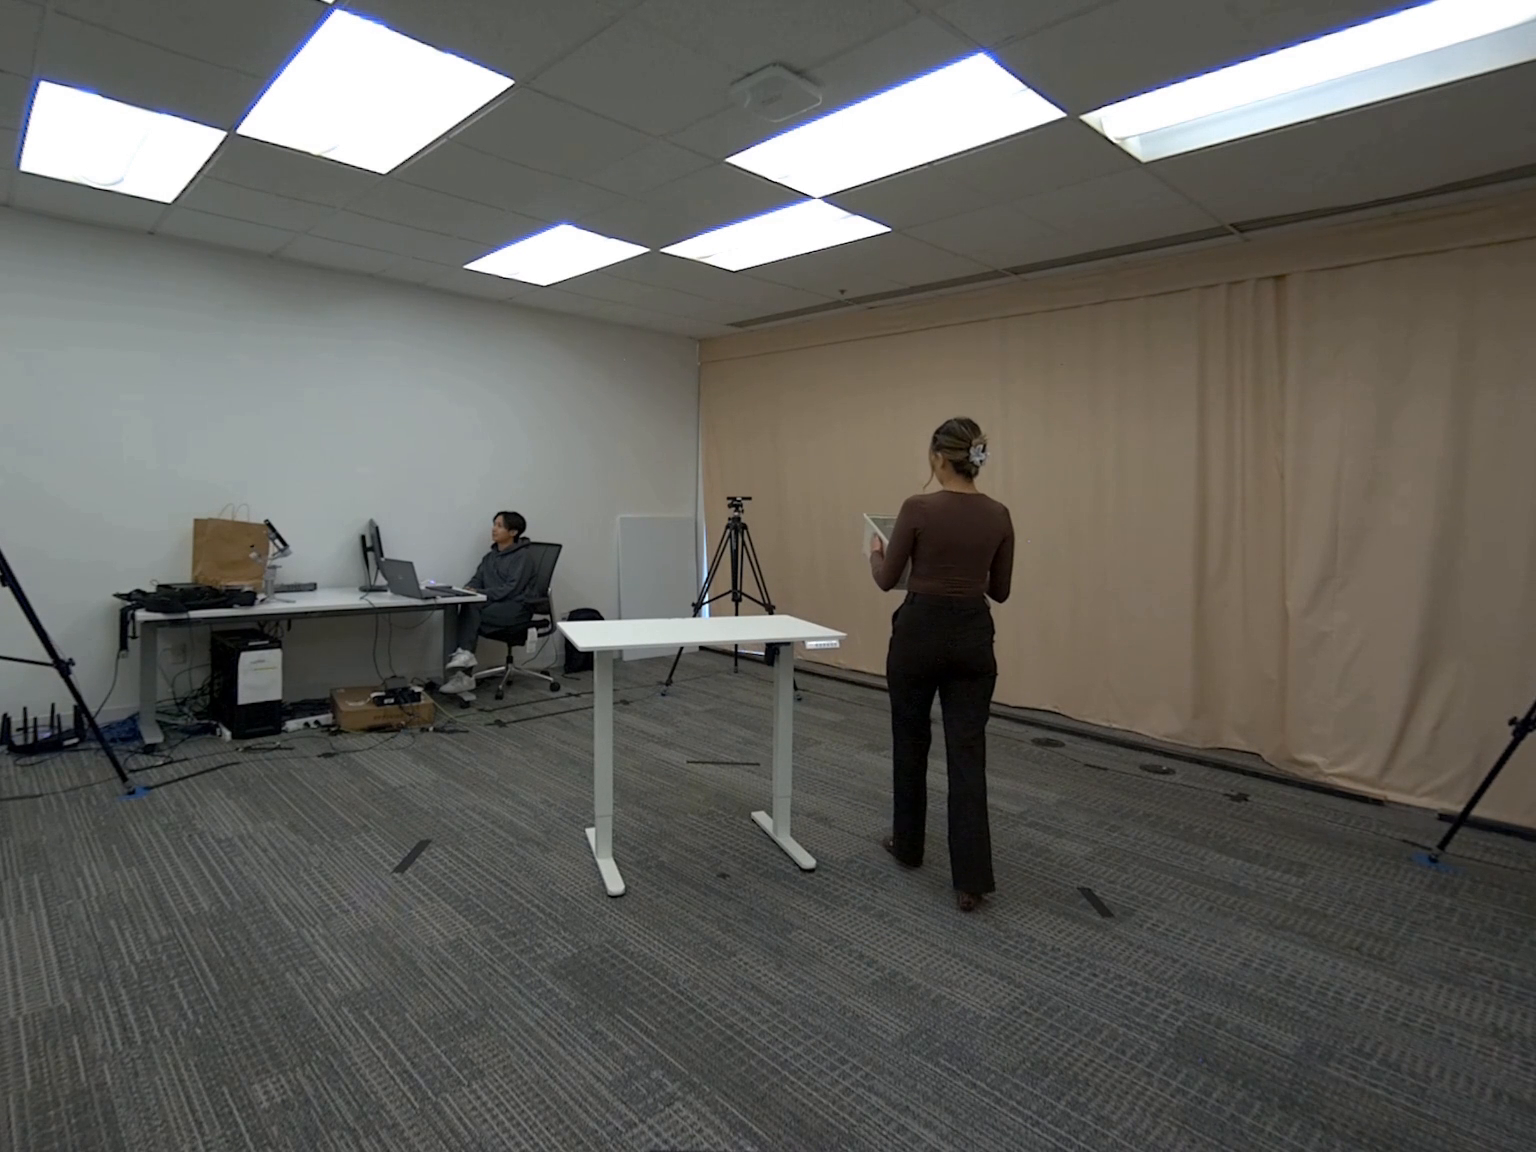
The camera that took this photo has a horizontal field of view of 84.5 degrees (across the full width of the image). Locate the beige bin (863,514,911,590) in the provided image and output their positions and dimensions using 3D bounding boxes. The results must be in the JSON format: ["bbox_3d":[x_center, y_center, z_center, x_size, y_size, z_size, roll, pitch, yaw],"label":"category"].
[{"bbox_3d":[0.620,-0.105,3.461,0.376,0.186,0.430,0,22,-5],"label":"beige bin"}]
